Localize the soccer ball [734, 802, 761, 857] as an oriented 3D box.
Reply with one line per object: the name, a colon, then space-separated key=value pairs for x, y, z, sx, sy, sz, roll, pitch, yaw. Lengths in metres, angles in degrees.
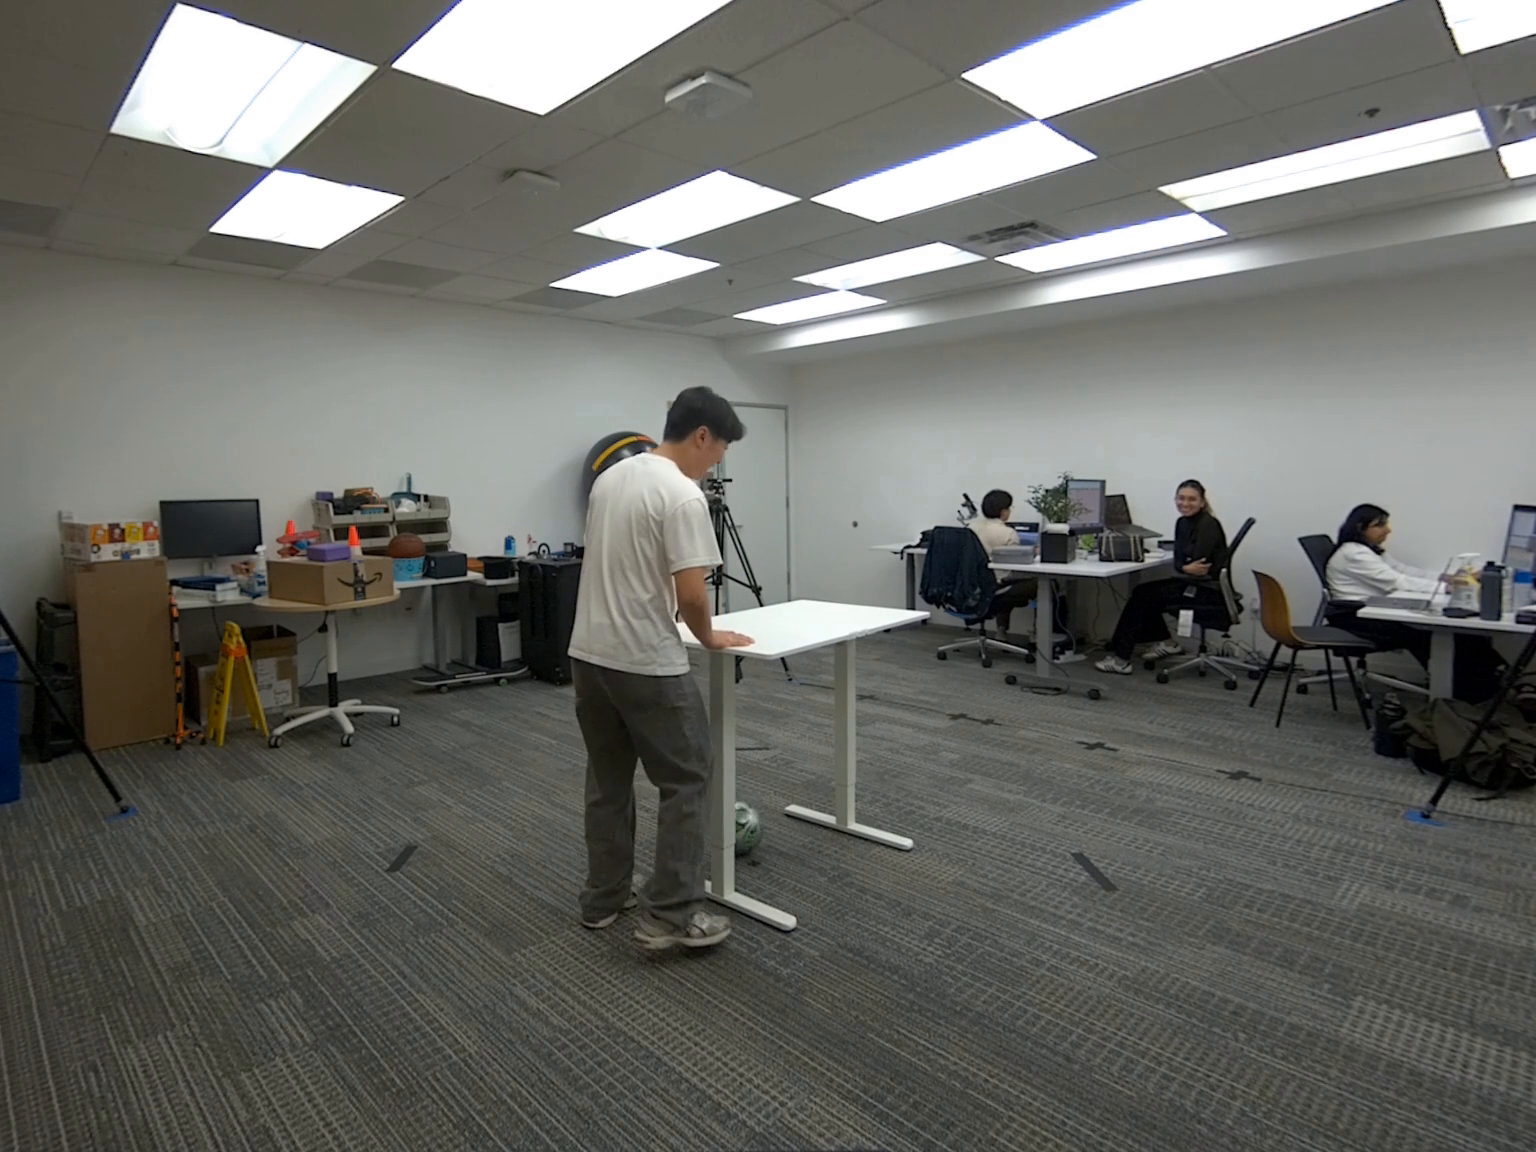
soccer ball: x=-0.108 y=0.942 z=3.198 sx=0.187 sy=0.187 sz=0.188 roll=-1 pitch=5 yaw=-2
